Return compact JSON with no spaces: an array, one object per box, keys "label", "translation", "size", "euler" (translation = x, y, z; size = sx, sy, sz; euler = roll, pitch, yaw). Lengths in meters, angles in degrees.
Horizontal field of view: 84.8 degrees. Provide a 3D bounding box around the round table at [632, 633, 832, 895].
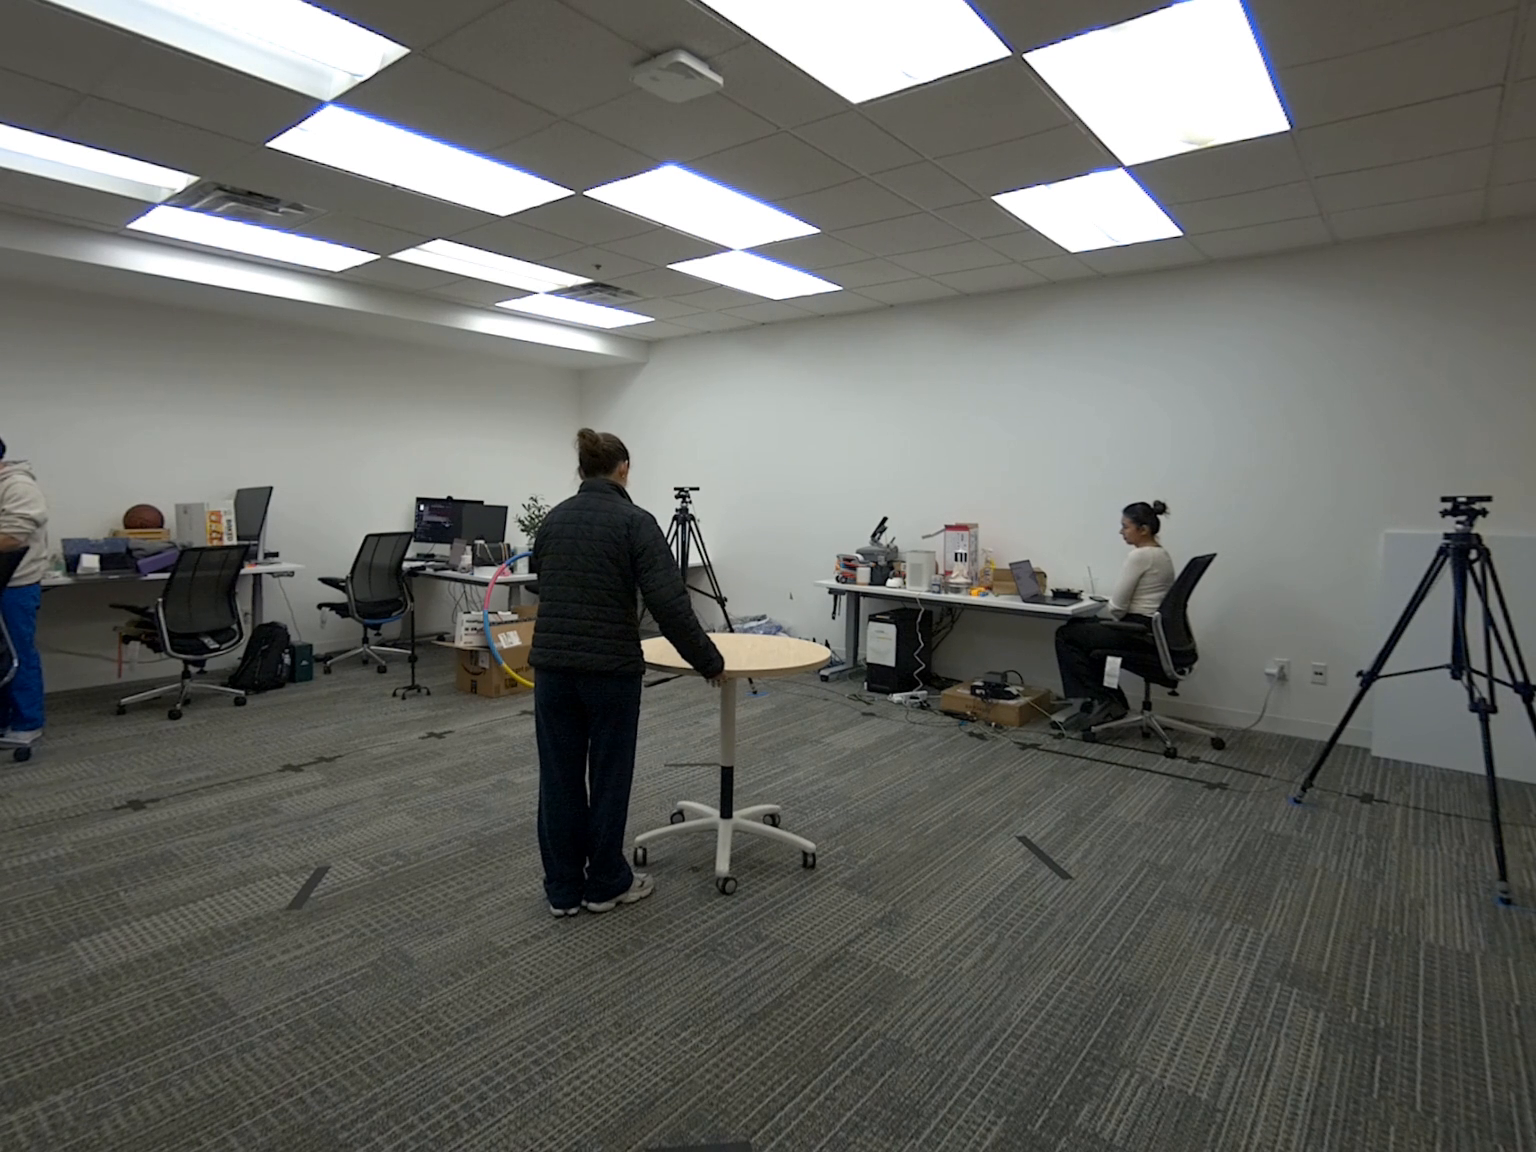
[{"label":"round table","translation":[-0.143,0.660,3.254],"size":[0.784,0.784,0.789],"euler":[1,4,-2]}]
